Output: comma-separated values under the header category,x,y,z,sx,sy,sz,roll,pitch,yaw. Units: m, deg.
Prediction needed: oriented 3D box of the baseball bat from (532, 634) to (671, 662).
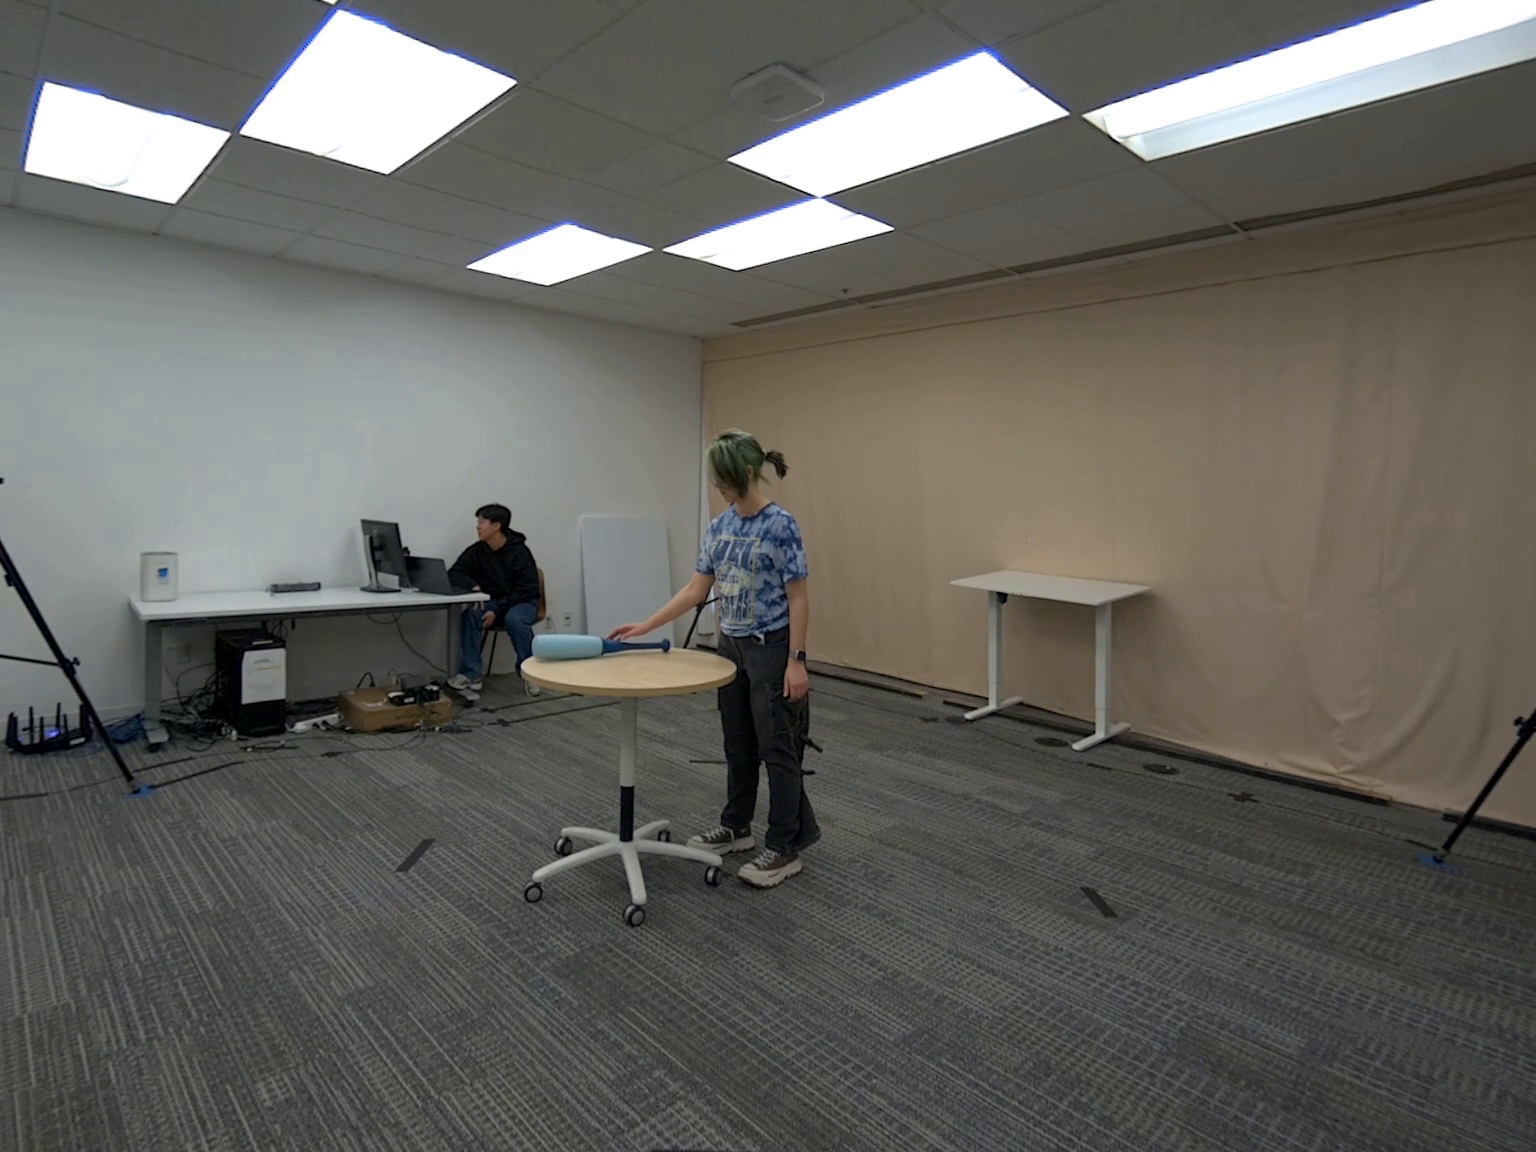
category,x,y,z,sx,sy,sz,roll,pitch,yaw
baseball bat,-0.620,0.270,3.152,0.531,0.089,0.091,3,3,-32
